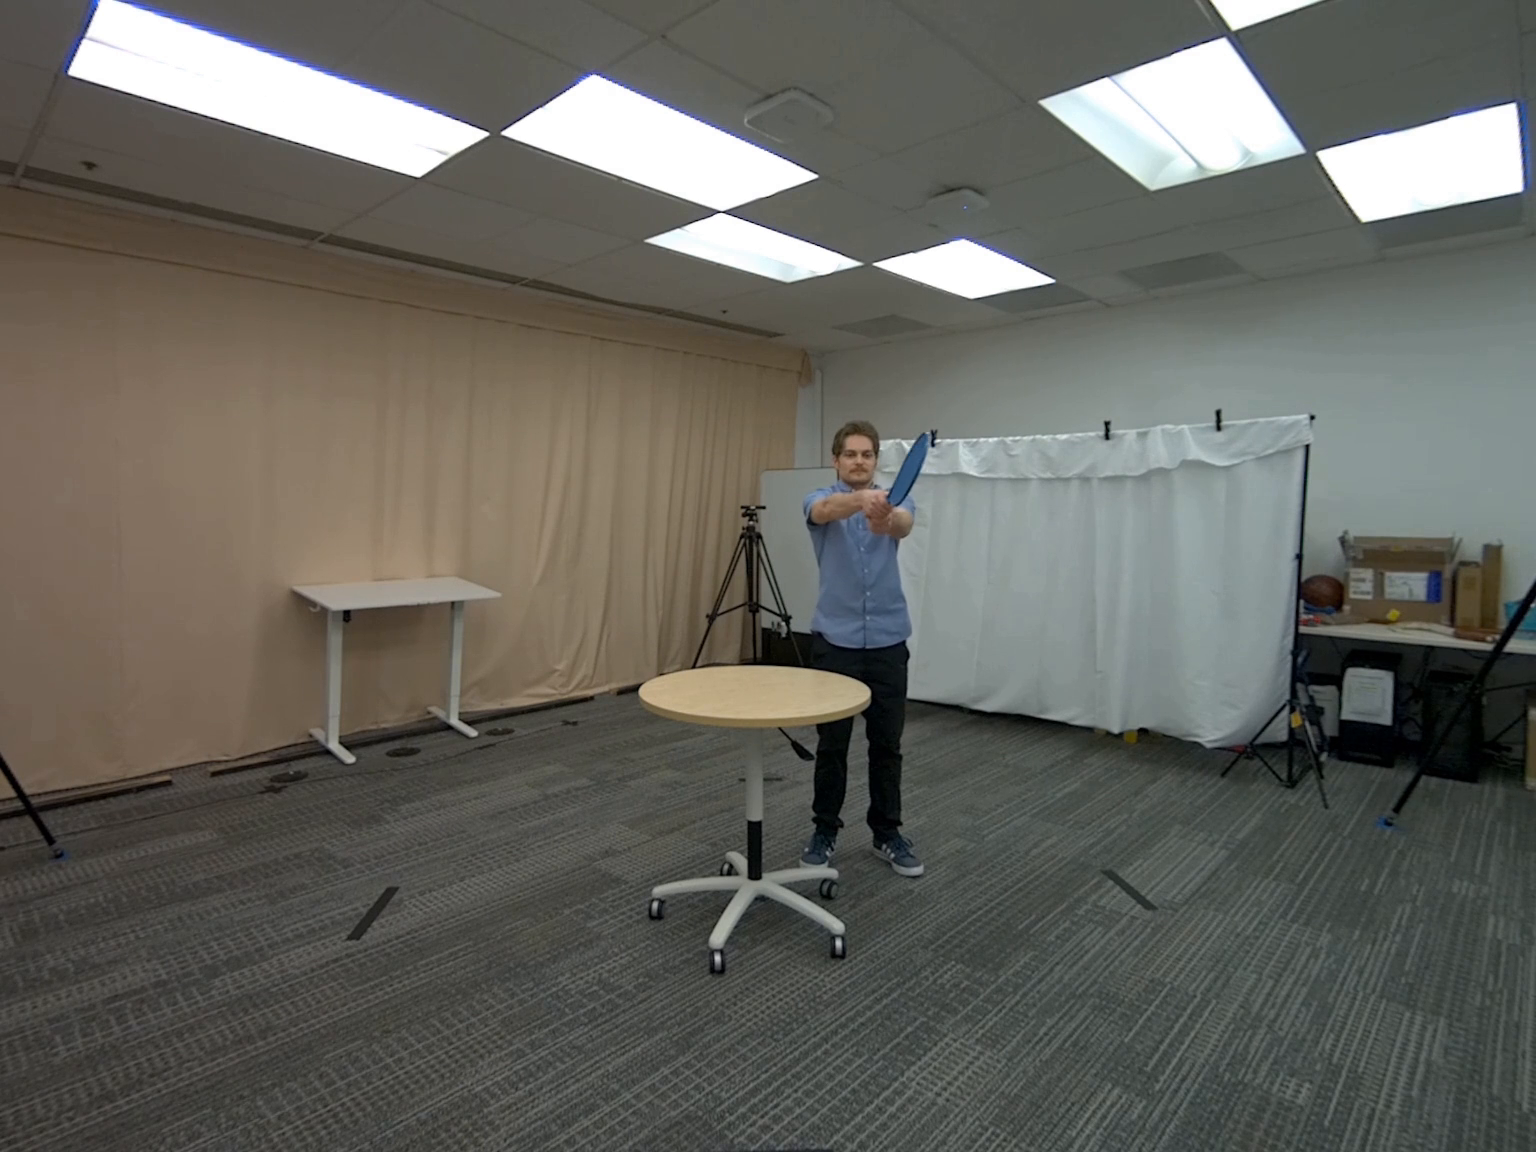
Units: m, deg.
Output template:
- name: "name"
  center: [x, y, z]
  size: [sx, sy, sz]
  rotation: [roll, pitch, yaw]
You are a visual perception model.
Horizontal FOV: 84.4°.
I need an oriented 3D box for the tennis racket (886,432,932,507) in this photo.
- name: "tennis racket"
  center: [0.407, -0.271, 2.569]
  size: [0.032, 0.215, 0.431]
  rotation: [21, -31, -3]
